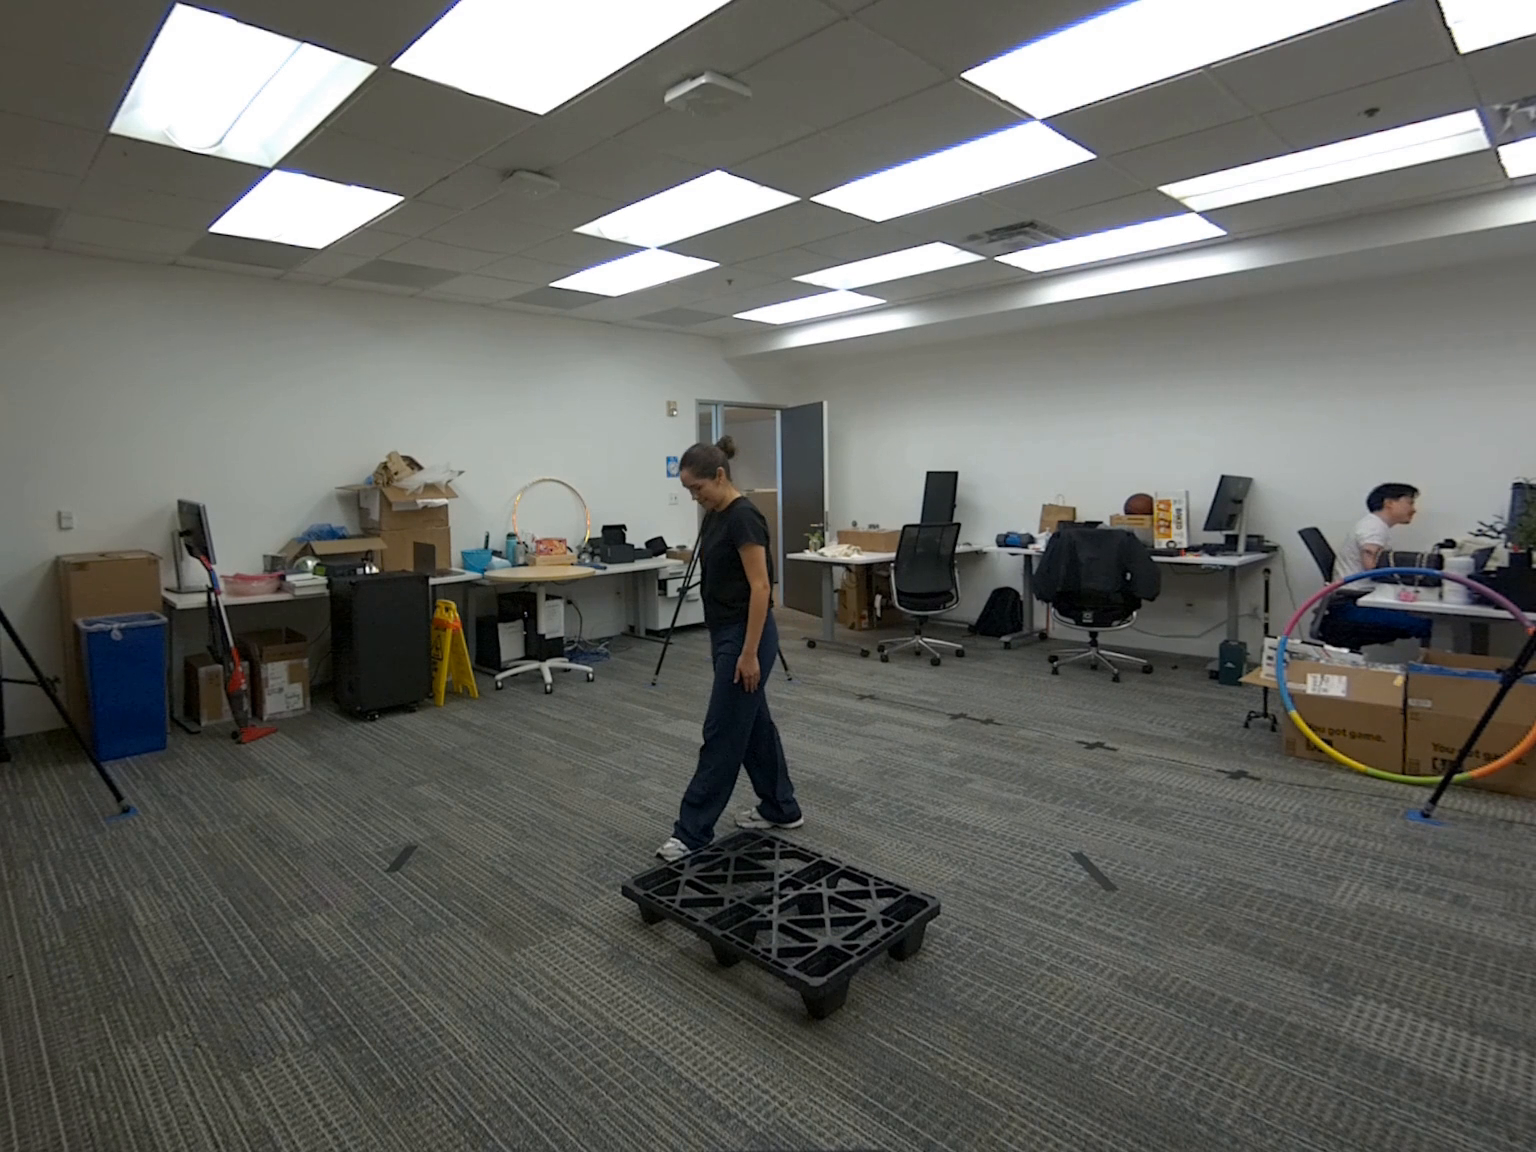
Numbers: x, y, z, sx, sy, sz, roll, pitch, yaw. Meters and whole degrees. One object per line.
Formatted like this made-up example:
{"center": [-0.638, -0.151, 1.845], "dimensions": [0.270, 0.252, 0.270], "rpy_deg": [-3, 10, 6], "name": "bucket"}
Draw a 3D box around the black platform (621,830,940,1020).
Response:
{"center": [0.028, 1.030, 2.640], "dimensions": [0.831, 0.142, 0.589], "rpy_deg": [6, 9, 43], "name": "black platform"}
